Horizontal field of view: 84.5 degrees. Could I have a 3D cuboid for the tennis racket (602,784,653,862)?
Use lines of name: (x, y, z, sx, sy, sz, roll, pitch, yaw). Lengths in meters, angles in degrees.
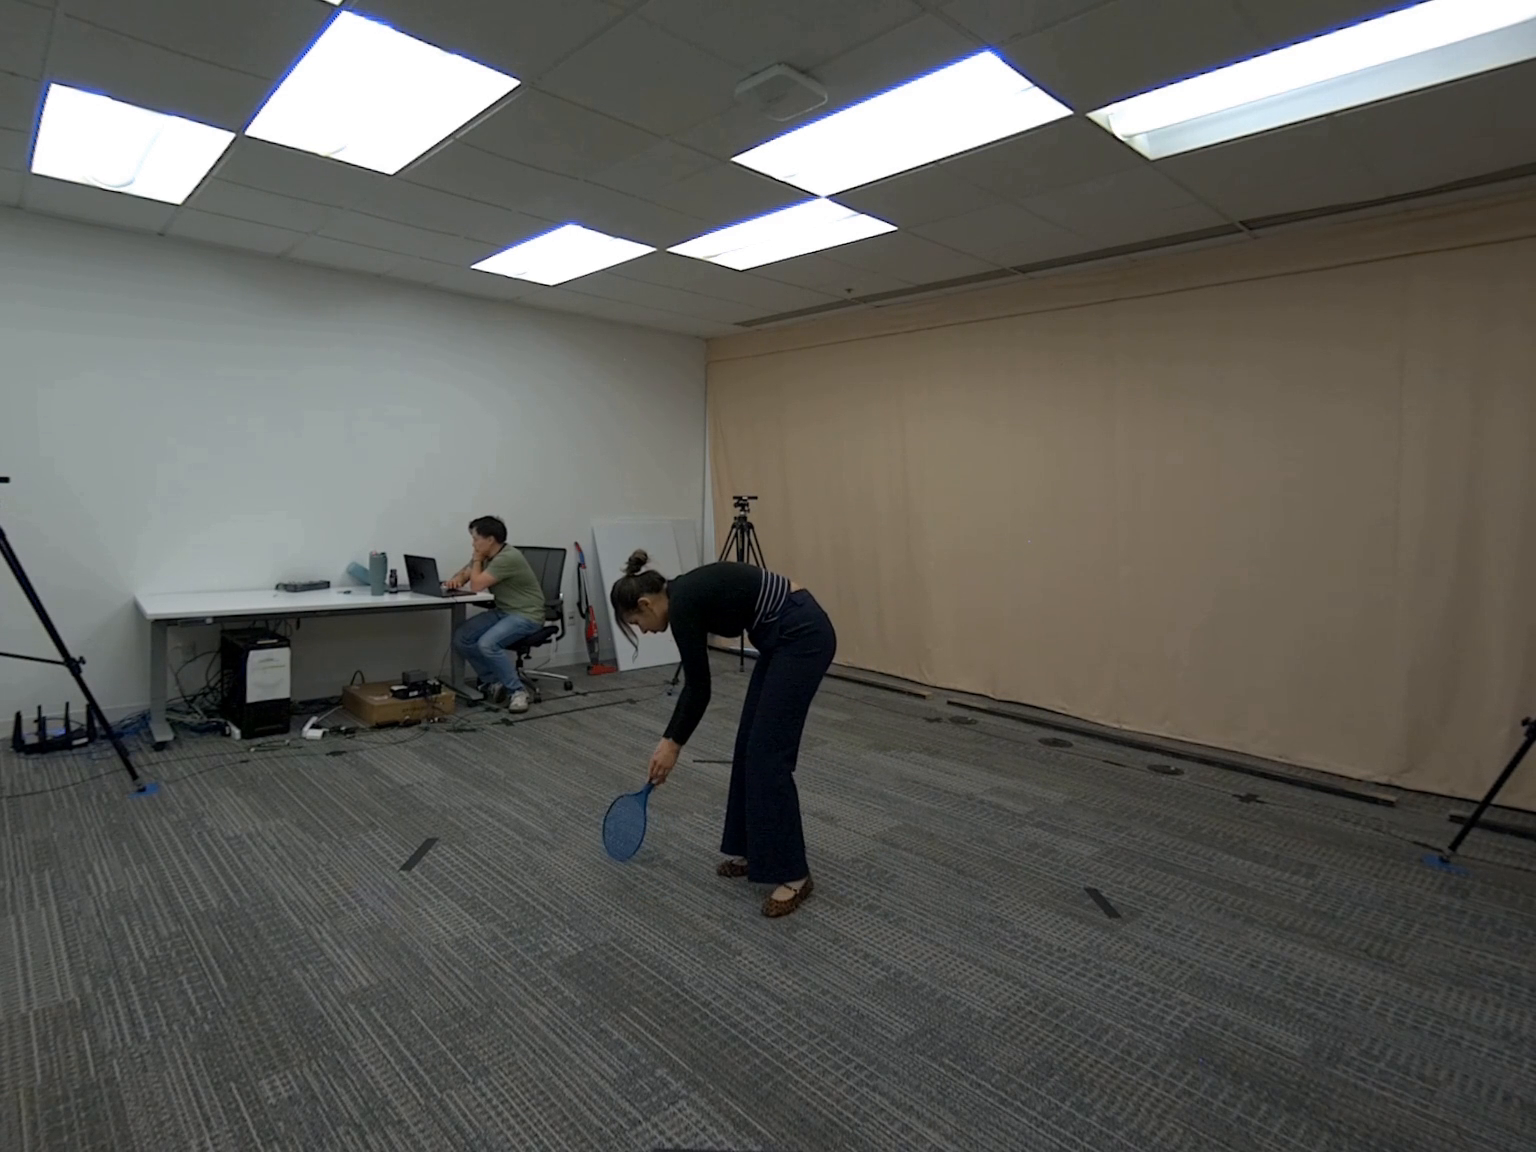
tennis racket: (-0.507, 0.886, 3.184, 0.031, 0.431, 0.220, 14, 24, -50)
